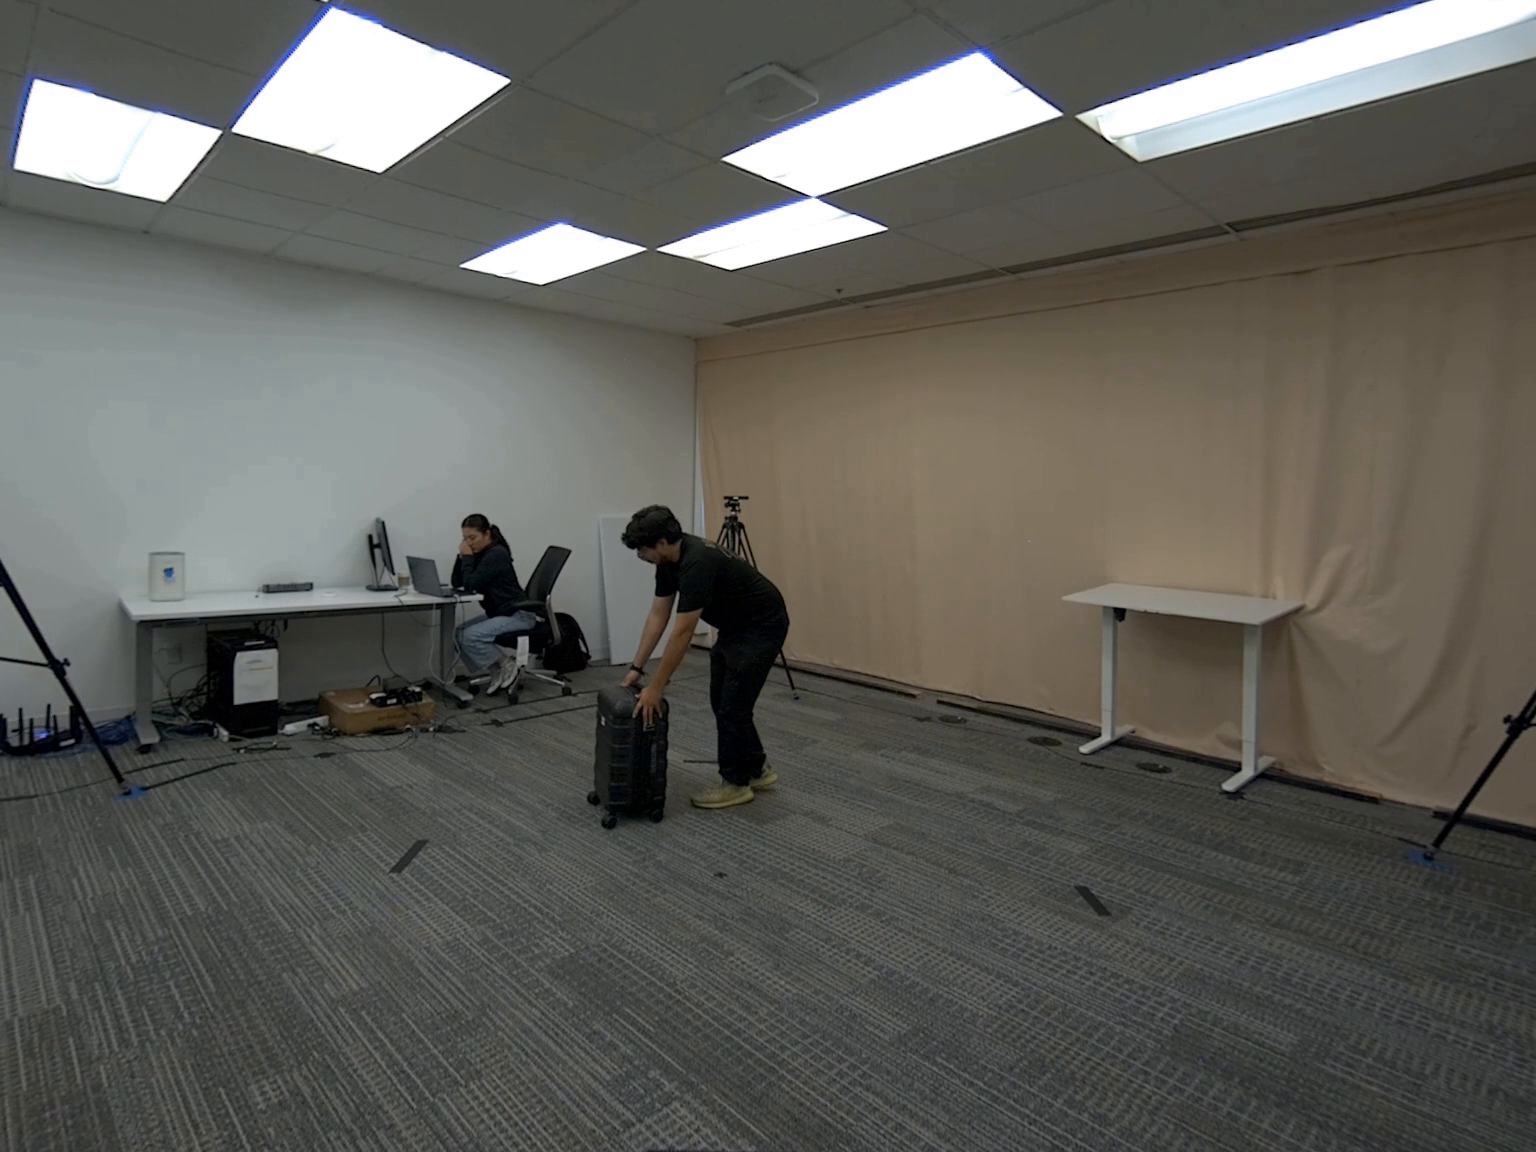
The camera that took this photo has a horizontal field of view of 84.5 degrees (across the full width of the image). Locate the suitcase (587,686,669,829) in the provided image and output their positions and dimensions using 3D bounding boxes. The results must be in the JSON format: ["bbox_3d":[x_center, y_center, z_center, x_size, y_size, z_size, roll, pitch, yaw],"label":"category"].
[{"bbox_3d":[-0.613,0.765,3.704,0.244,0.549,0.382,3,2,-24],"label":"suitcase"}]
